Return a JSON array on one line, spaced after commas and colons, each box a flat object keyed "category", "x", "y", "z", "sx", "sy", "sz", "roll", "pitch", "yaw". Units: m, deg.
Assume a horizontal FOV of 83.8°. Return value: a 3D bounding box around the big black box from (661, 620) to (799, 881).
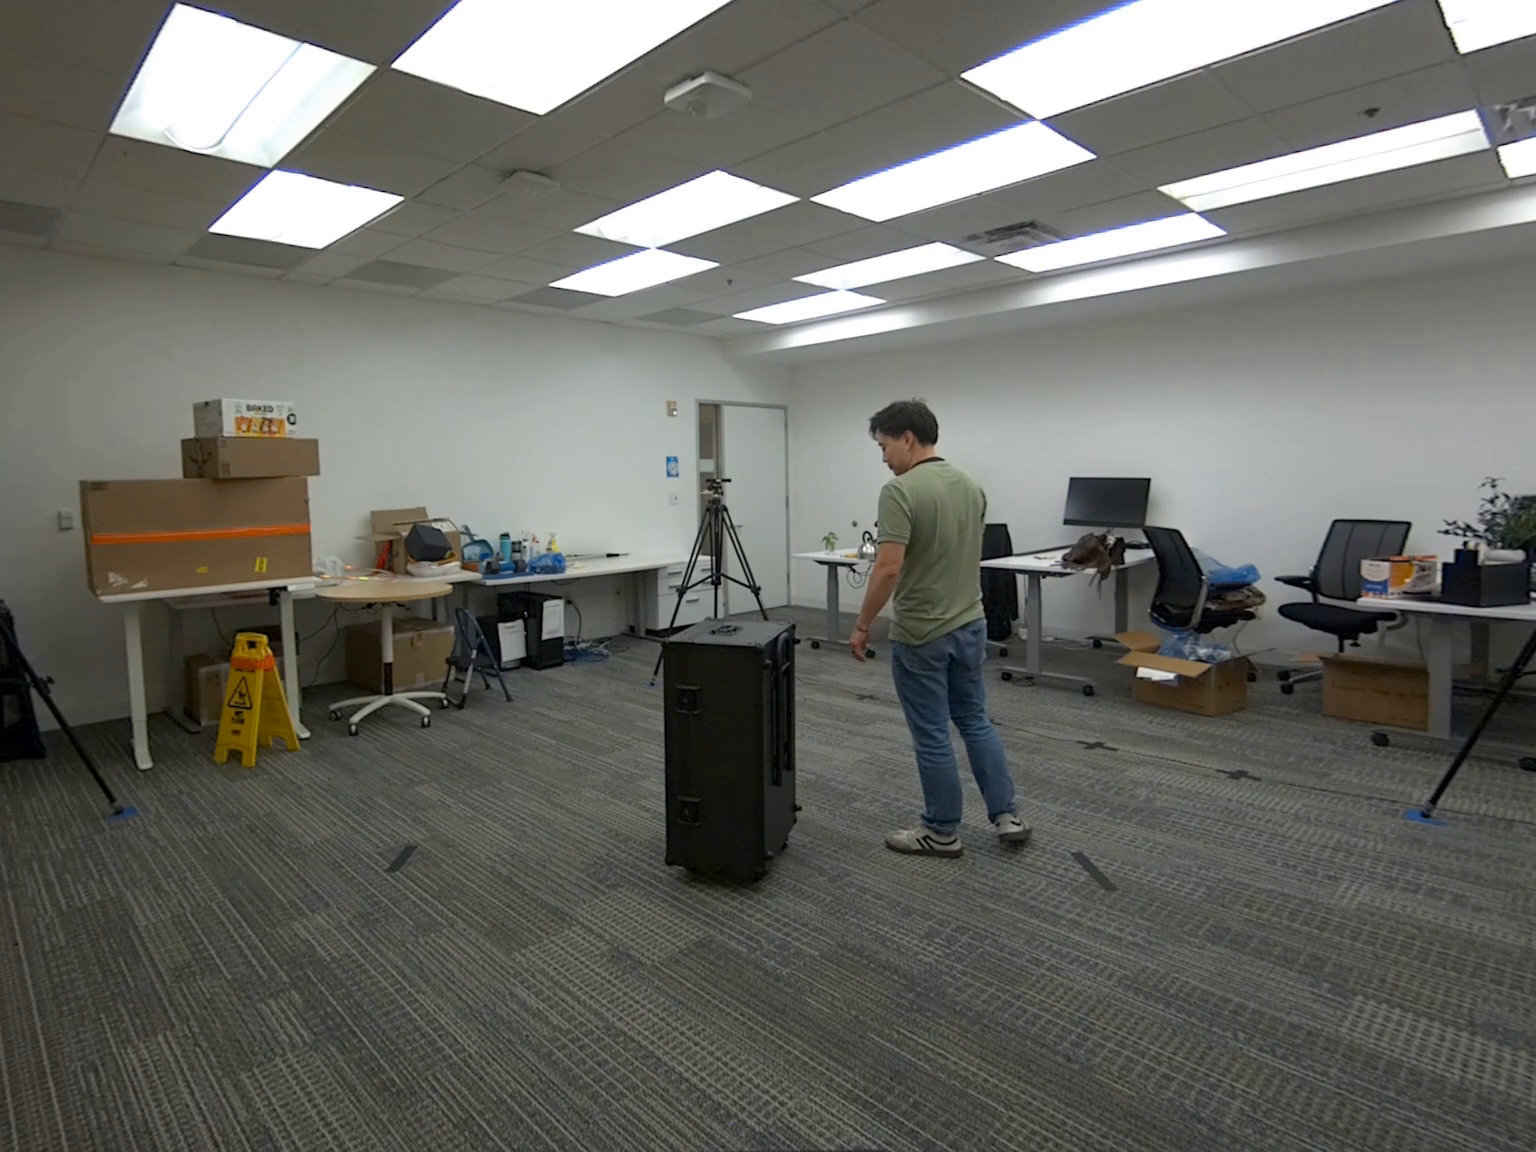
[{"category": "big black box", "x": -0.115, "y": 0.621, "z": 3.095, "sx": 0.403, "sy": 0.859, "sz": 0.515, "roll": 1, "pitch": 4, "yaw": 16}]
